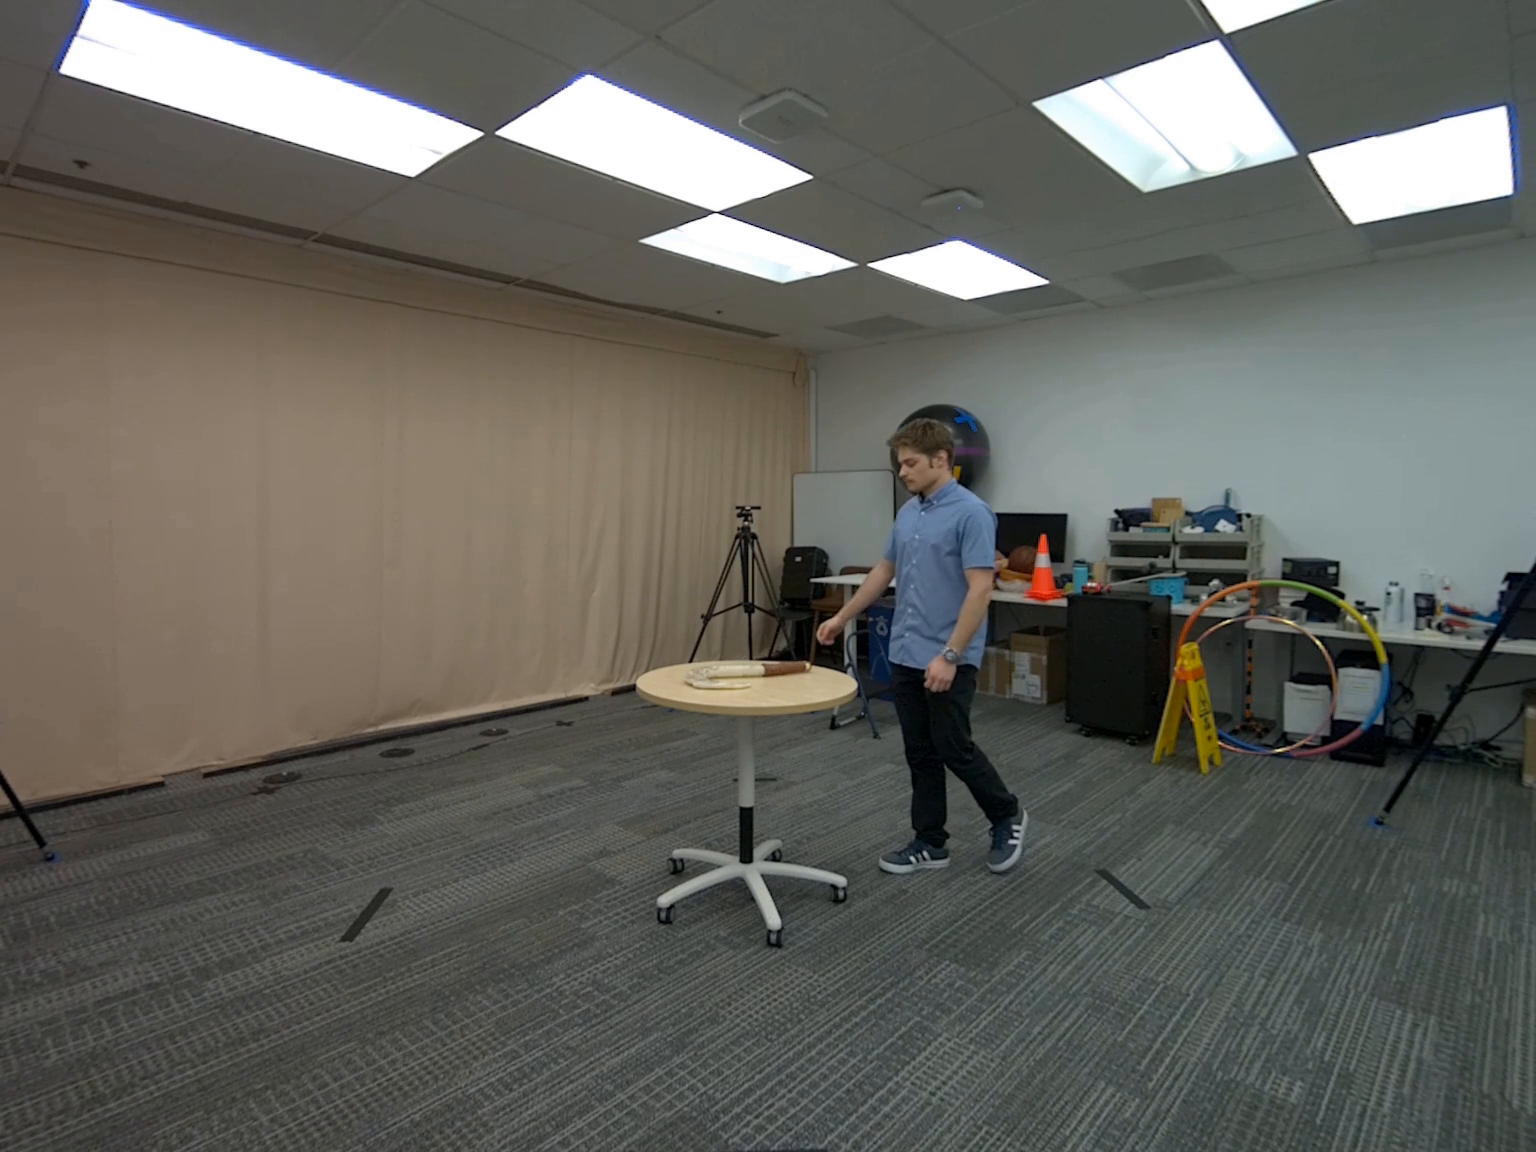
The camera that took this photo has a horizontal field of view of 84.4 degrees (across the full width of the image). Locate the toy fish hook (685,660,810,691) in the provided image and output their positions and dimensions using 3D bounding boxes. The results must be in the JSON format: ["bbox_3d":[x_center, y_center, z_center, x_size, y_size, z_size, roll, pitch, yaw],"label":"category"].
[{"bbox_3d":[-0.039,0.354,2.949,0.495,0.048,0.231,-3,12,-25],"label":"toy fish hook"}]
